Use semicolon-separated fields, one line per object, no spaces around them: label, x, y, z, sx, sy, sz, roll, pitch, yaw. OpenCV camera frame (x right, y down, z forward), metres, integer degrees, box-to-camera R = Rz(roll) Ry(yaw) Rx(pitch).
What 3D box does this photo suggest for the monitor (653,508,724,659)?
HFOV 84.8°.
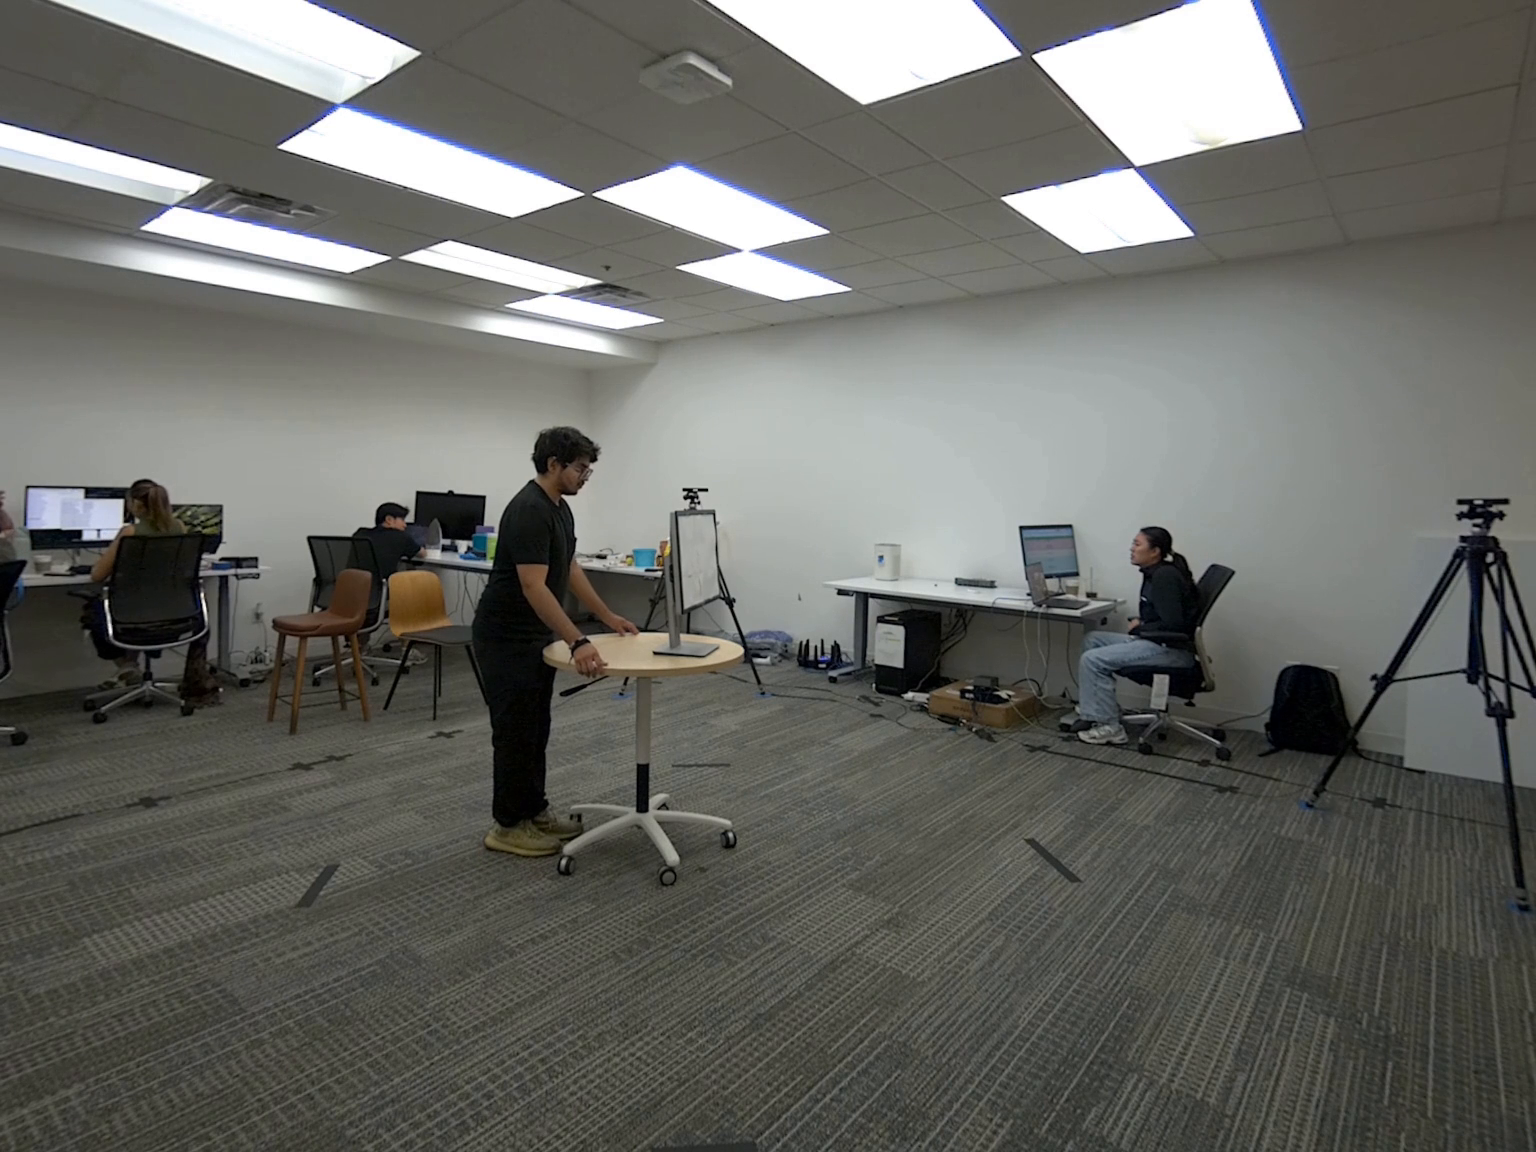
monitor;-0.339;0.023;3.234;0.213;0.553;0.559;-1;3;12
